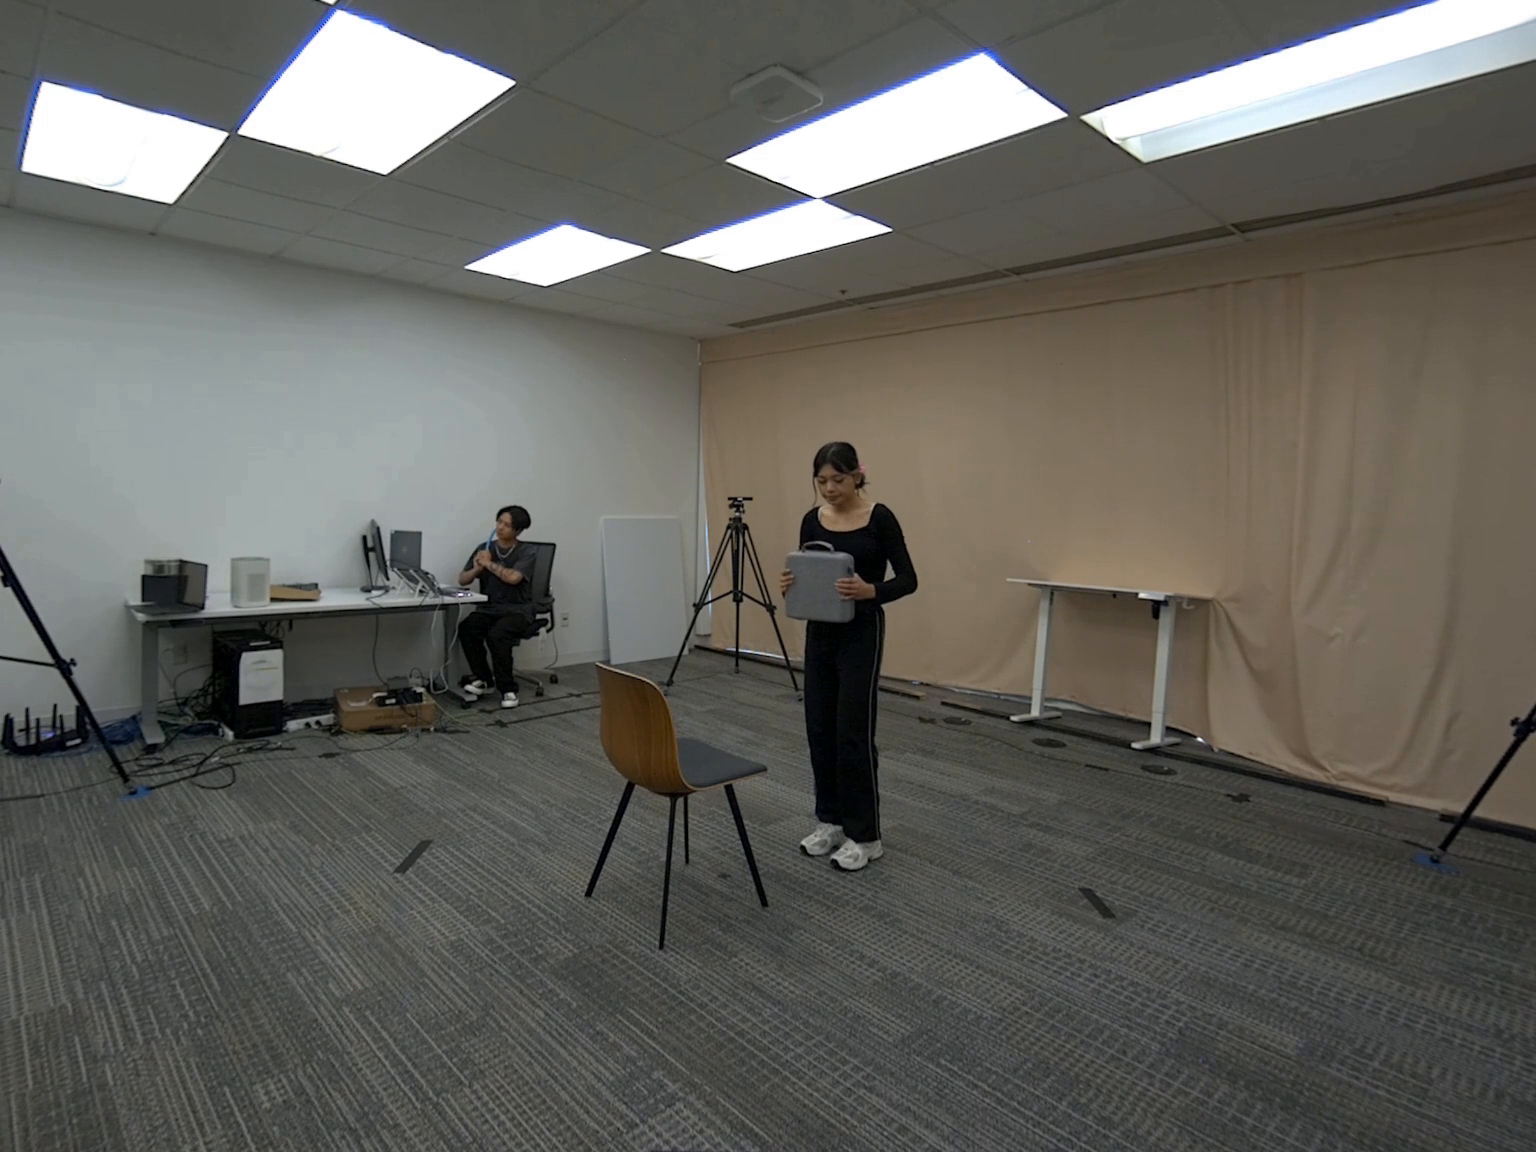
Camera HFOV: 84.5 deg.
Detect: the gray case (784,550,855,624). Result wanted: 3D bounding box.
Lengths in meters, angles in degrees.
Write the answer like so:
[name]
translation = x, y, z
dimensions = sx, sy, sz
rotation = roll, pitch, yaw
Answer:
[gray case]
translation = 0.190, 0.036, 3.103
dimensions = 0.263, 0.259, 0.102
rotation = 3, 7, 32
